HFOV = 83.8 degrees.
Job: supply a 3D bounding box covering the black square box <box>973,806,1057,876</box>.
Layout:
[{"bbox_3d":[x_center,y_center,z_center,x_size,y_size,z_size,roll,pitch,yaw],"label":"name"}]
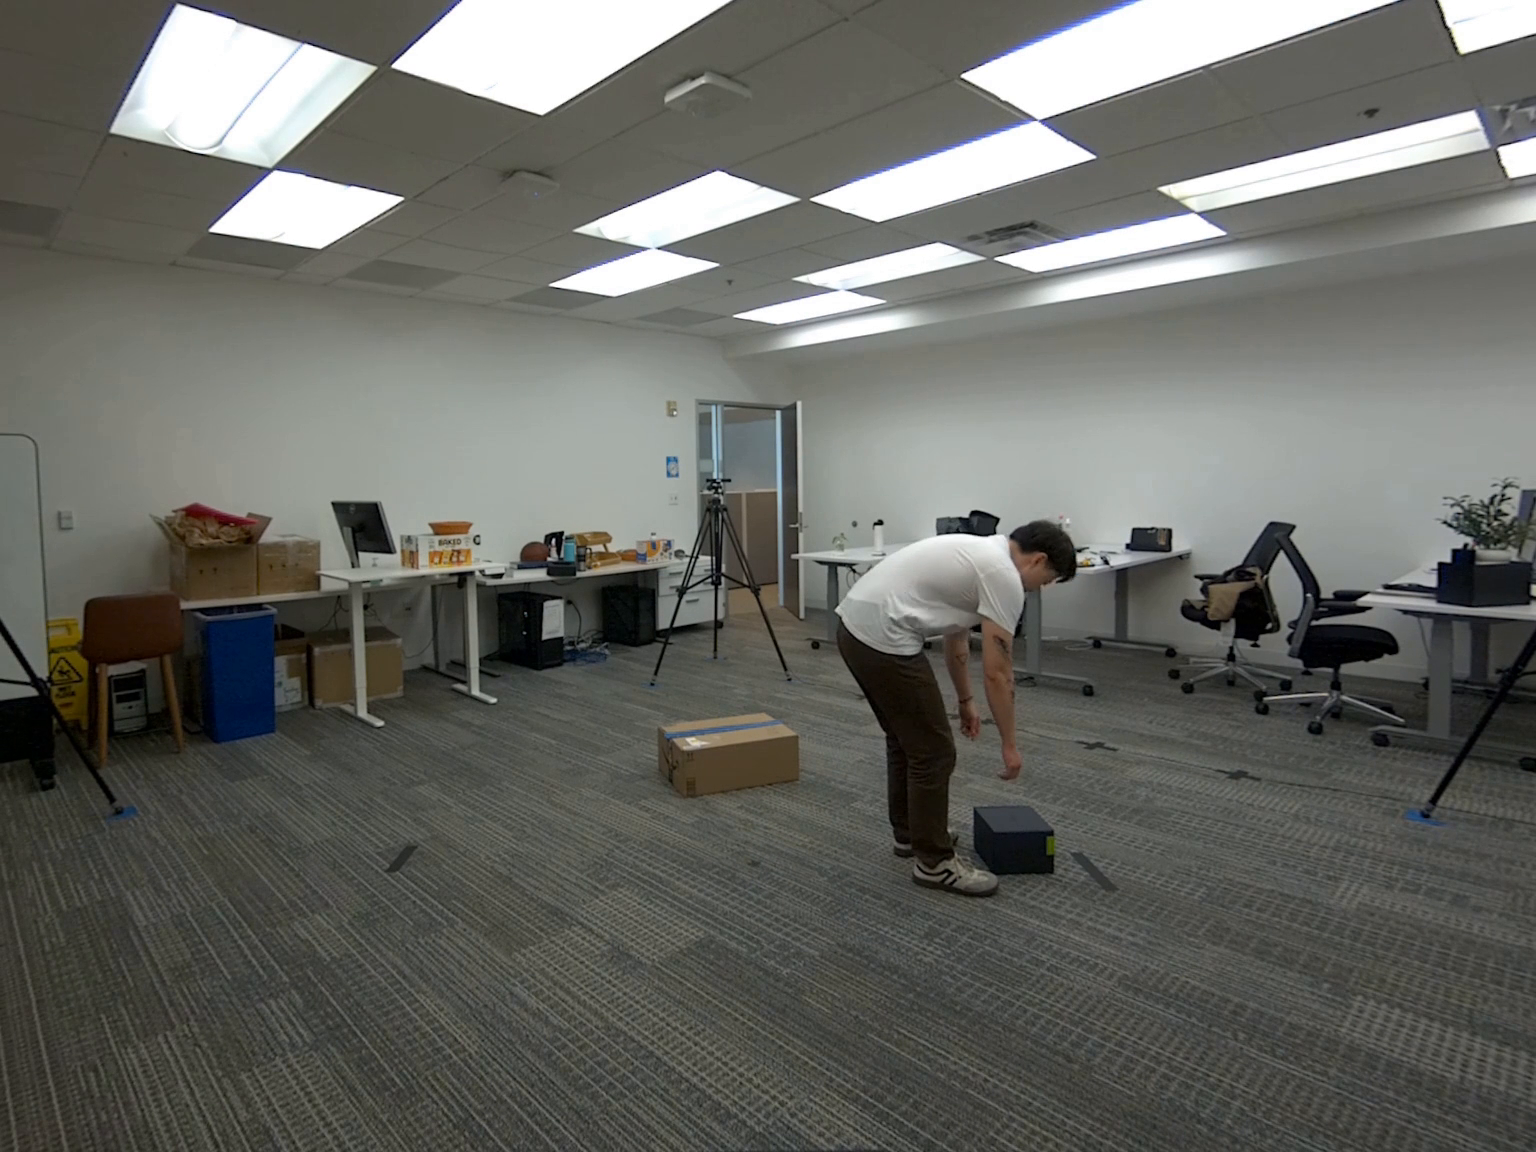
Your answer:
[{"bbox_3d":[0.881,0.942,3.084,0.216,0.155,0.229,-2,5,-3],"label":"black square box"}]
